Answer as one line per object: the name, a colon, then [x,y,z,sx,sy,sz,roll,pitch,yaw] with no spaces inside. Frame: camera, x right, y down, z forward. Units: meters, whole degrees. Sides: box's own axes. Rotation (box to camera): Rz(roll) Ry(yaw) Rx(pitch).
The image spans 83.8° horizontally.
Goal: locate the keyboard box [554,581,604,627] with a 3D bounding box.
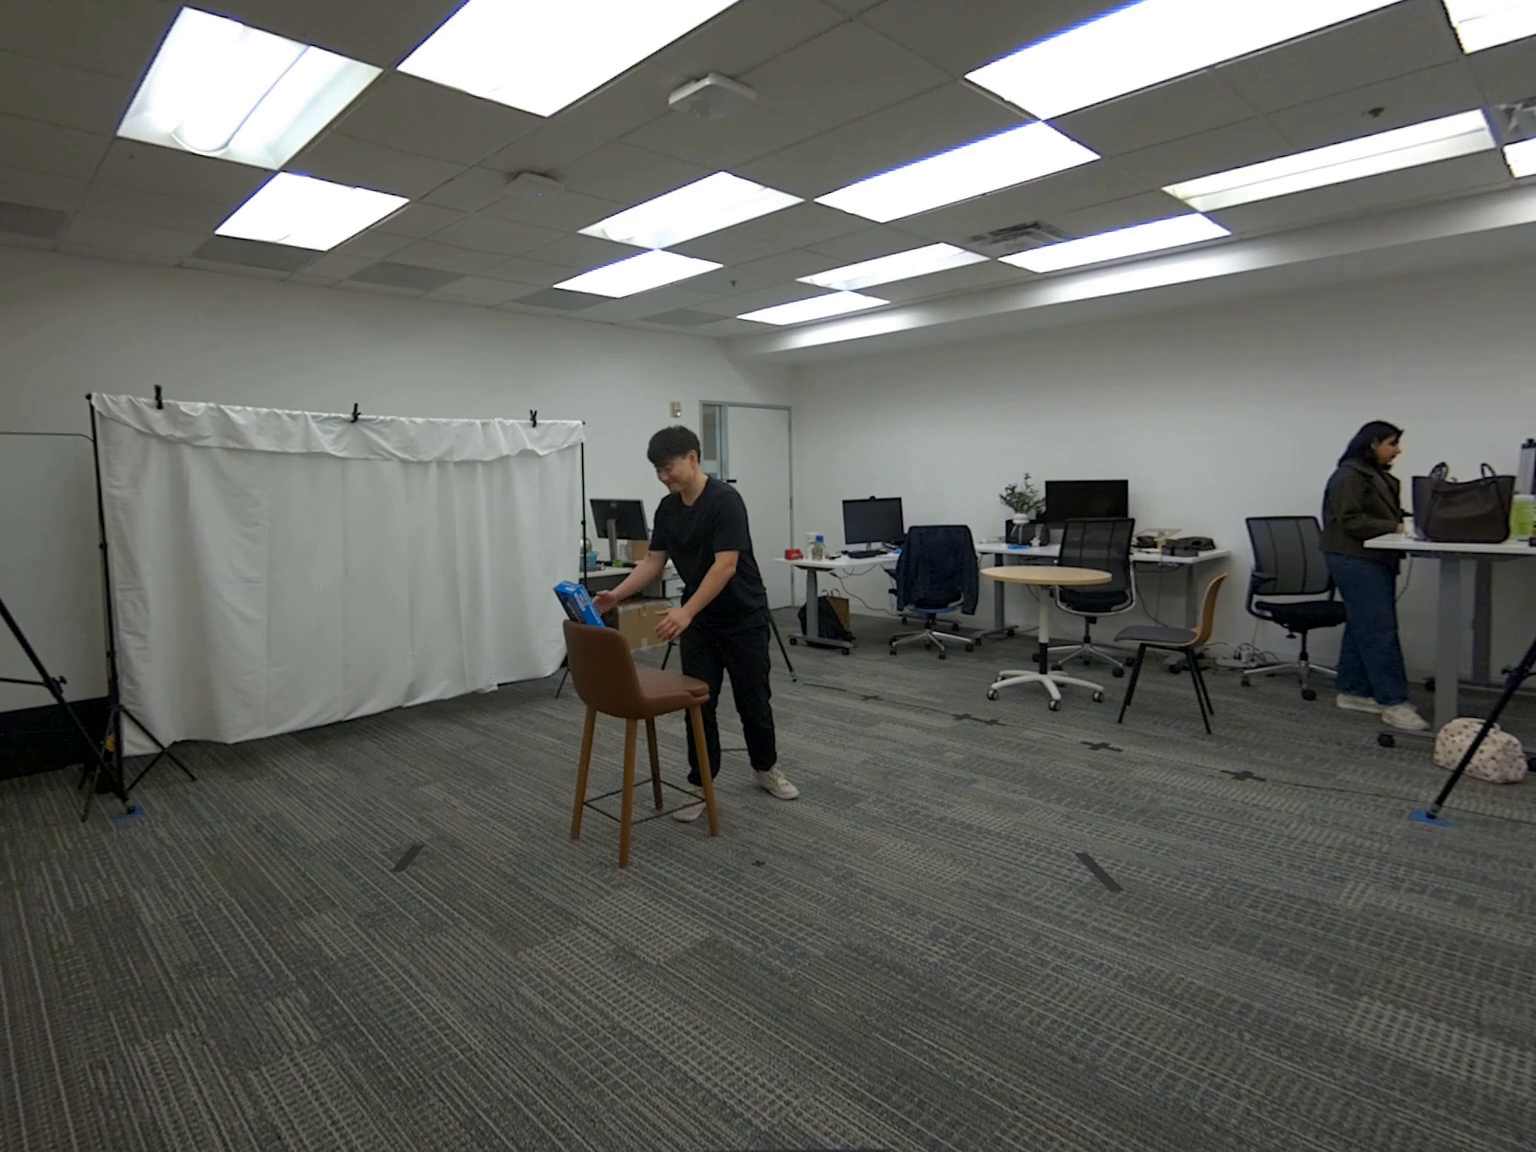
keyboard box: [-0.668,0.224,3.281,0.059,0.427,0.181,-35,23,-28]
